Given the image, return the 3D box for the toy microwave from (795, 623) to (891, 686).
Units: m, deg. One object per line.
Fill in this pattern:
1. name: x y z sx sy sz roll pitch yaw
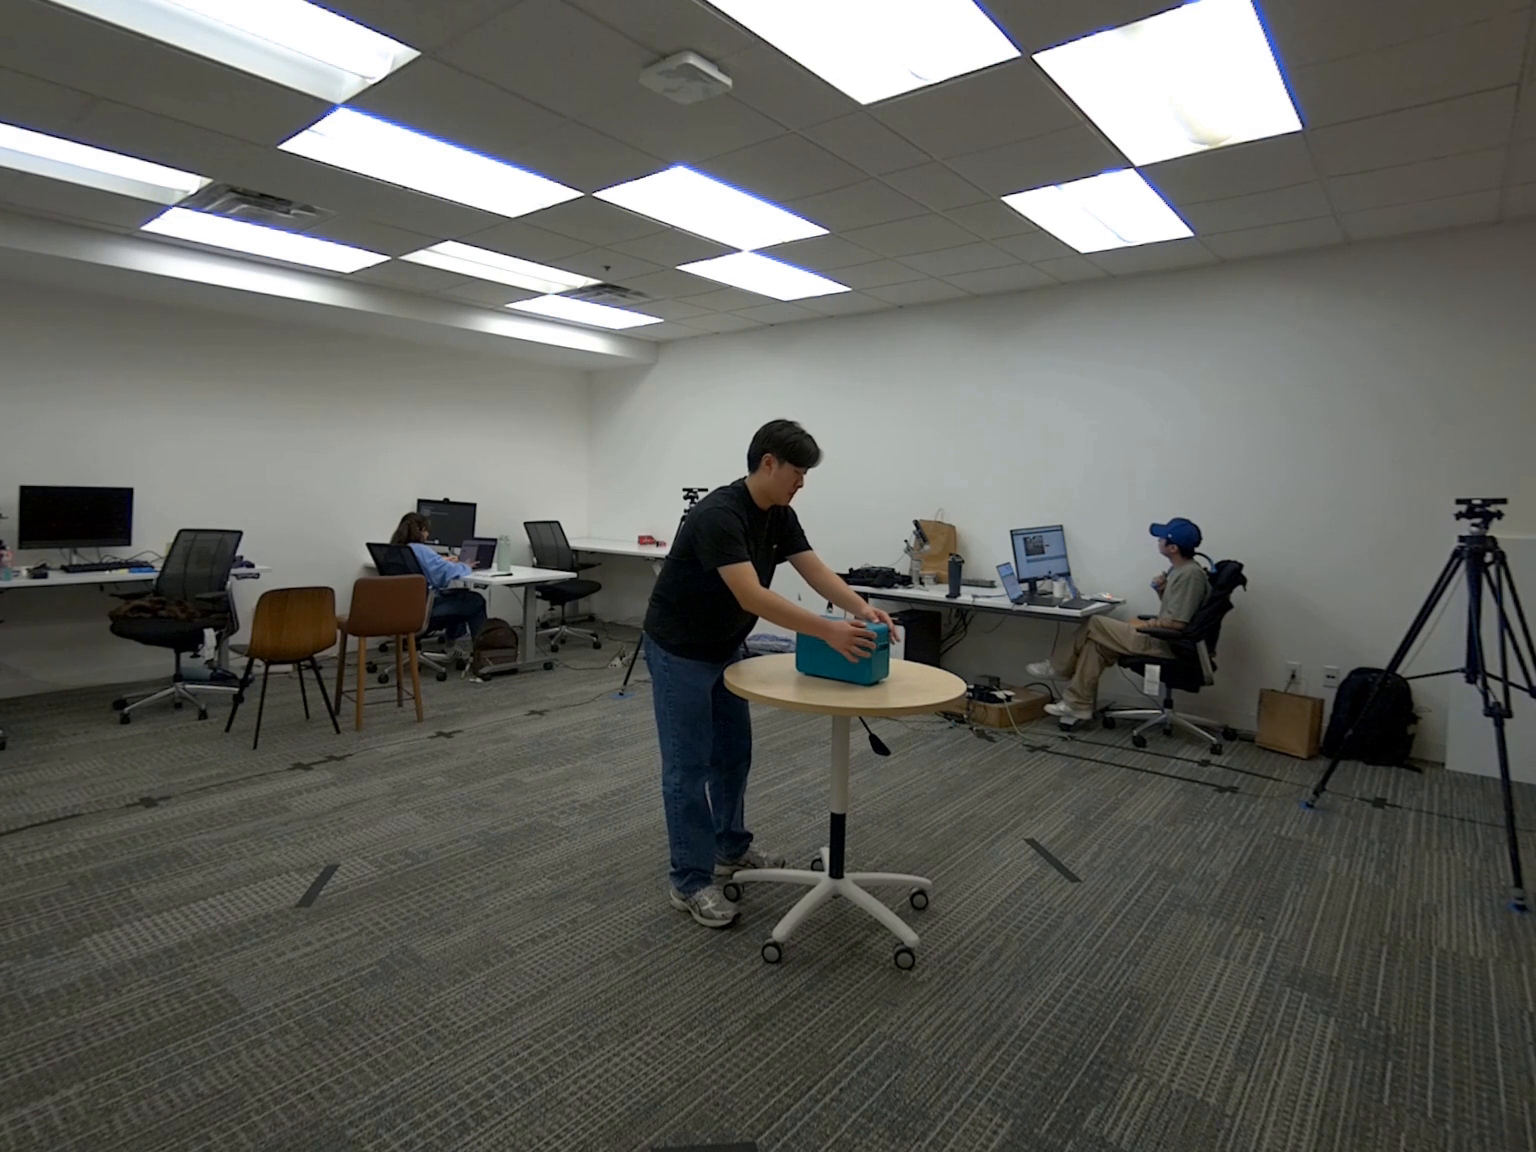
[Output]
1. toy microwave: 0.237 0.230 2.718 0.296 0.183 0.148 5 6 38
